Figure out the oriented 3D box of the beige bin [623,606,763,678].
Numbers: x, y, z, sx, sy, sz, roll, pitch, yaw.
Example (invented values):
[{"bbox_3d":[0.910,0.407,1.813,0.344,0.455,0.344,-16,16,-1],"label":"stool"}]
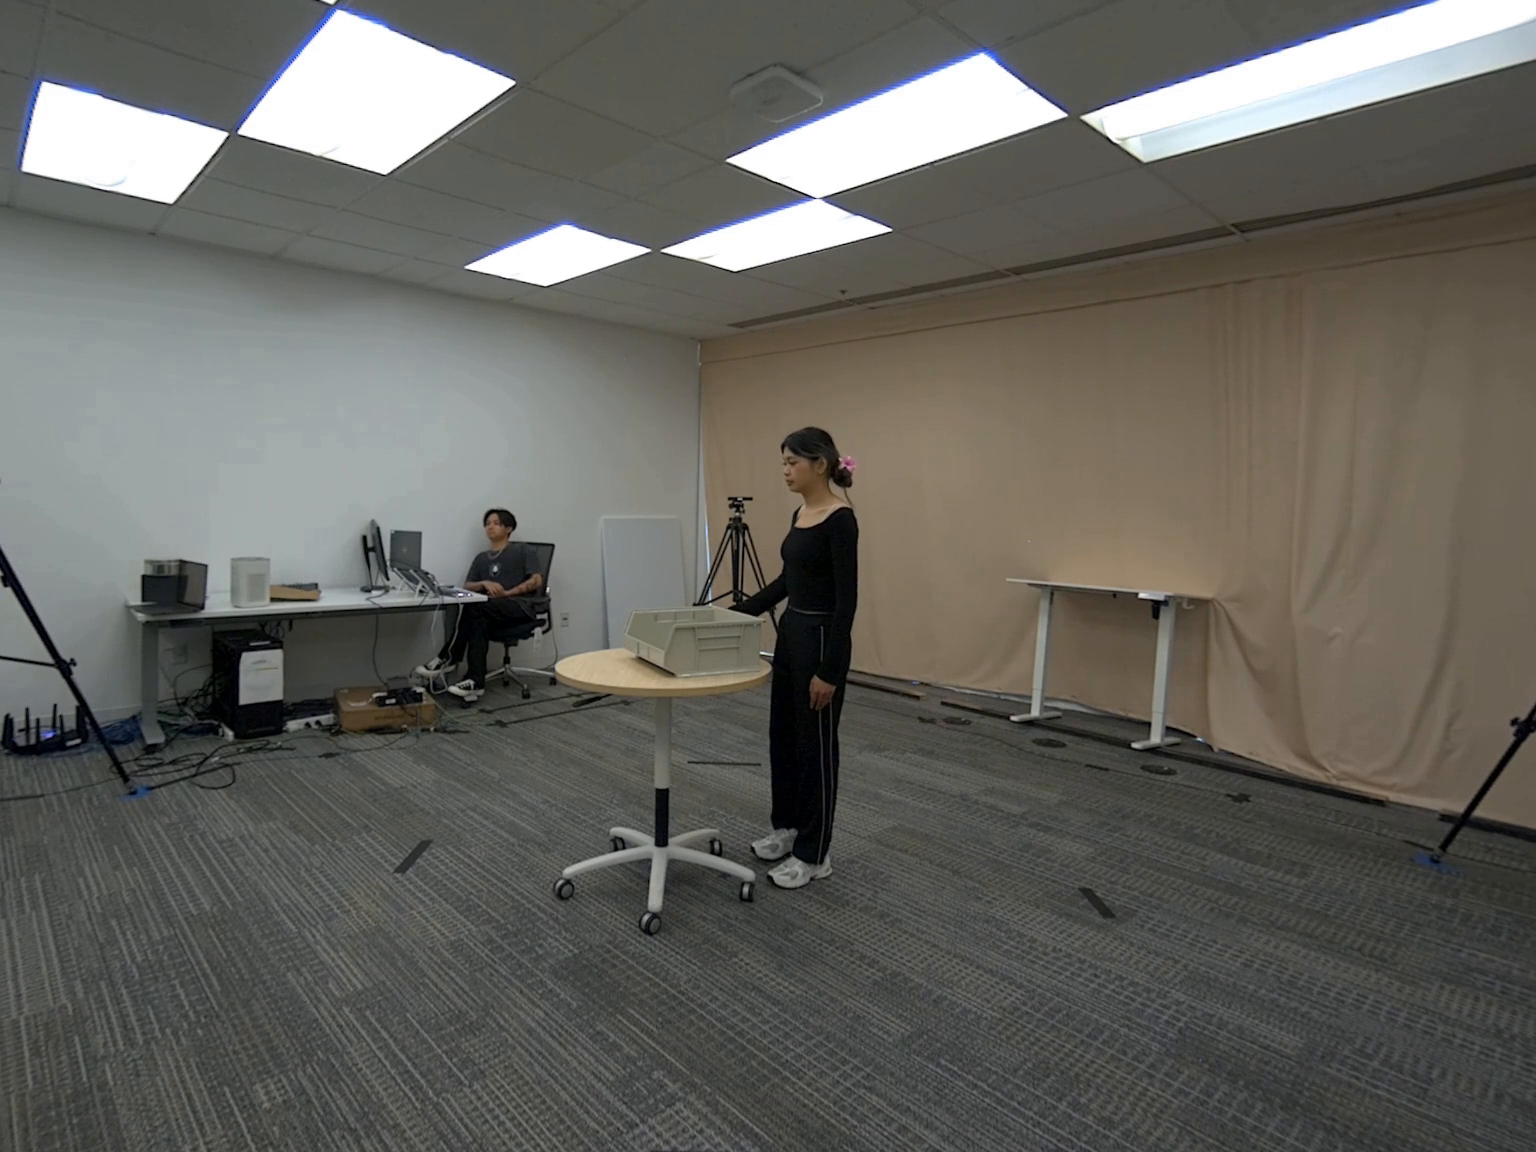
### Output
[{"bbox_3d":[-0.284,0.228,3.014,0.370,0.188,0.432,0,4,-29],"label":"beige bin"}]
